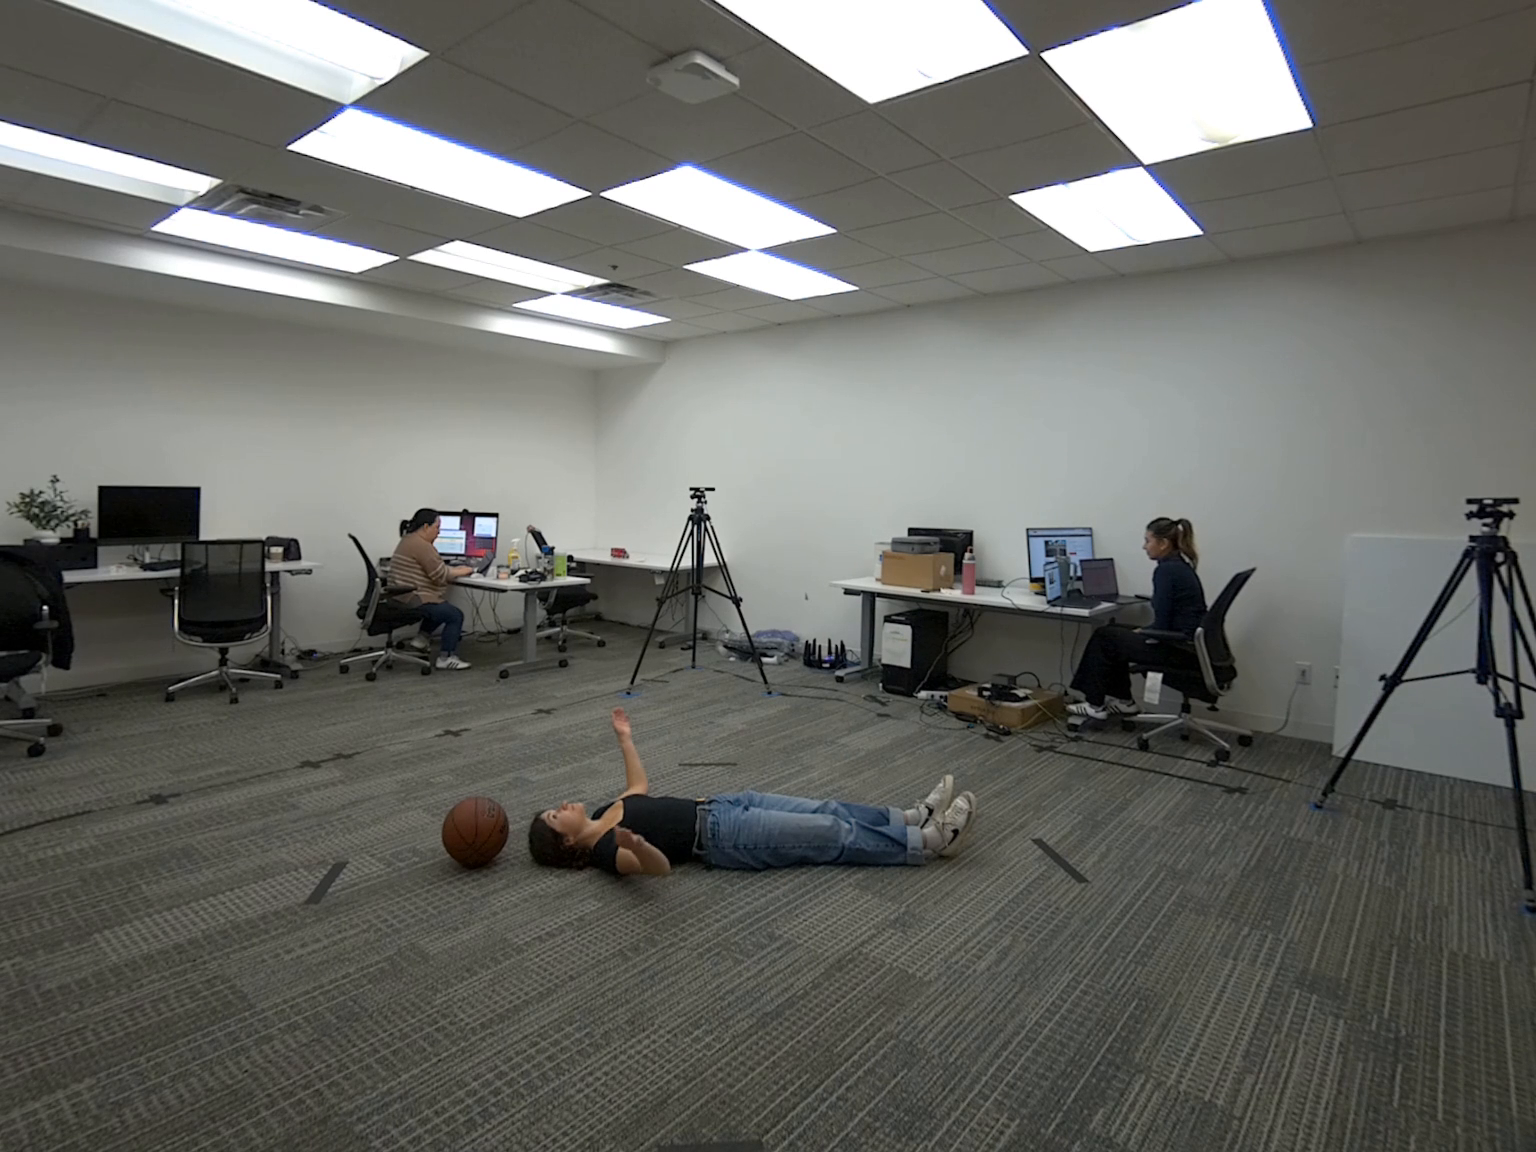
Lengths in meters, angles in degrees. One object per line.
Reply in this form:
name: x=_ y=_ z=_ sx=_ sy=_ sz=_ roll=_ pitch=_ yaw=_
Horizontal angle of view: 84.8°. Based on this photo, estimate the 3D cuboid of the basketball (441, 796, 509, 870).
basketball: x=-1.085 y=0.930 z=3.116 sx=0.235 sy=0.235 sz=0.237 roll=1 pitch=4 yaw=-2
